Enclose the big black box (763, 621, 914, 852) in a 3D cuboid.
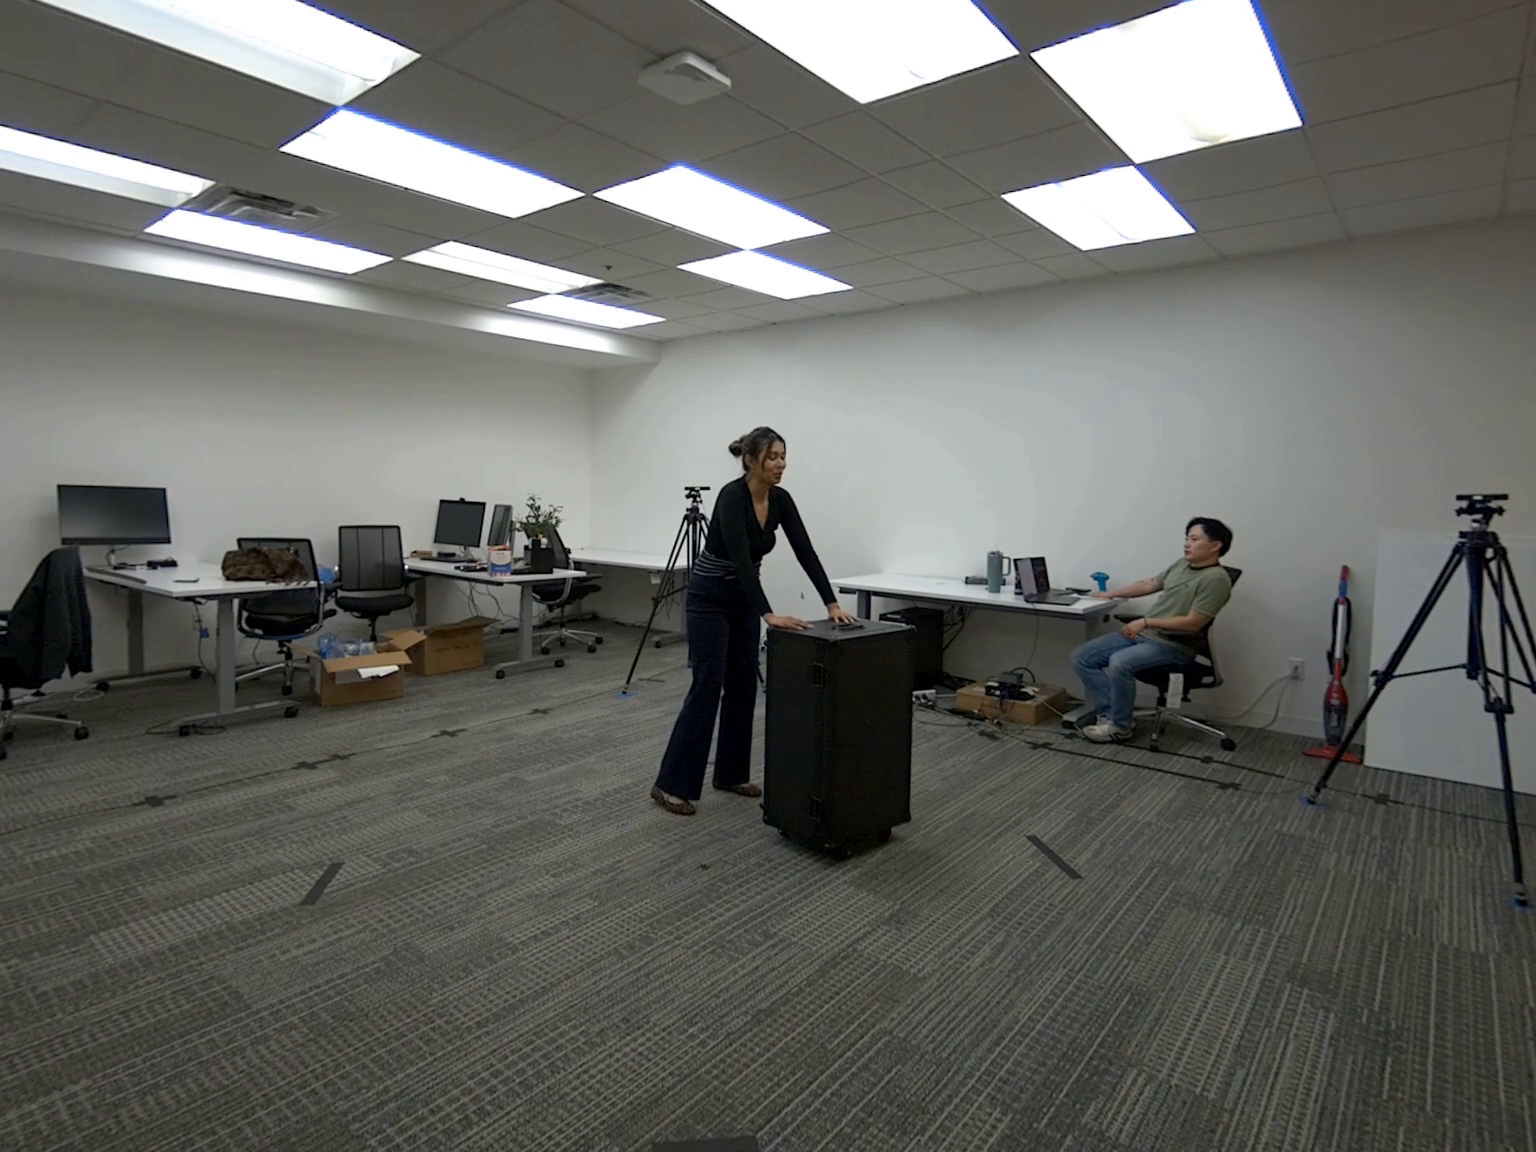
[{"bbox_3d":[0.262,0.620,3.368,0.505,0.859,0.410,-2,5,-43],"label":"big black box"}]
